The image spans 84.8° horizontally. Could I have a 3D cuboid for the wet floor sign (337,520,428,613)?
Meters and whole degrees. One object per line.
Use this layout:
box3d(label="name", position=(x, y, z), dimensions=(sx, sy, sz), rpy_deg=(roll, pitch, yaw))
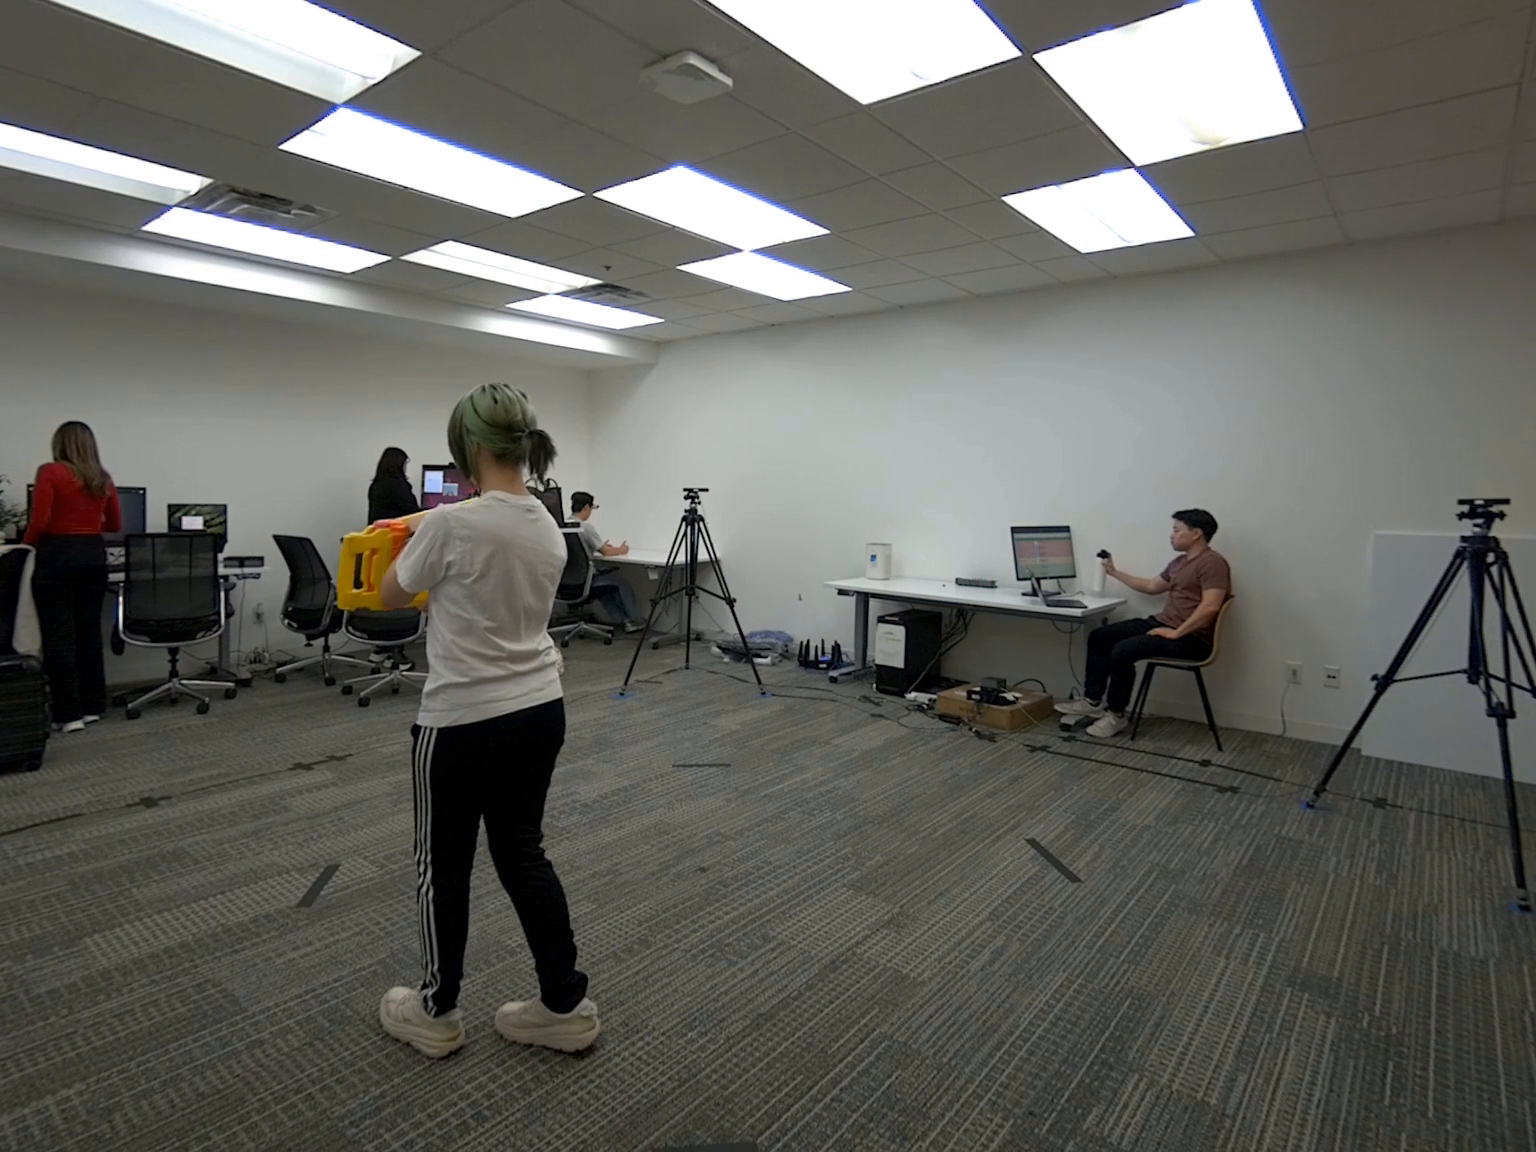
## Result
box3d(label="wet floor sign", position=(-0.966, -0.052, 2.443), dimensions=(0.297, 0.280, 0.635), rpy_deg=(12, 12, 21))
